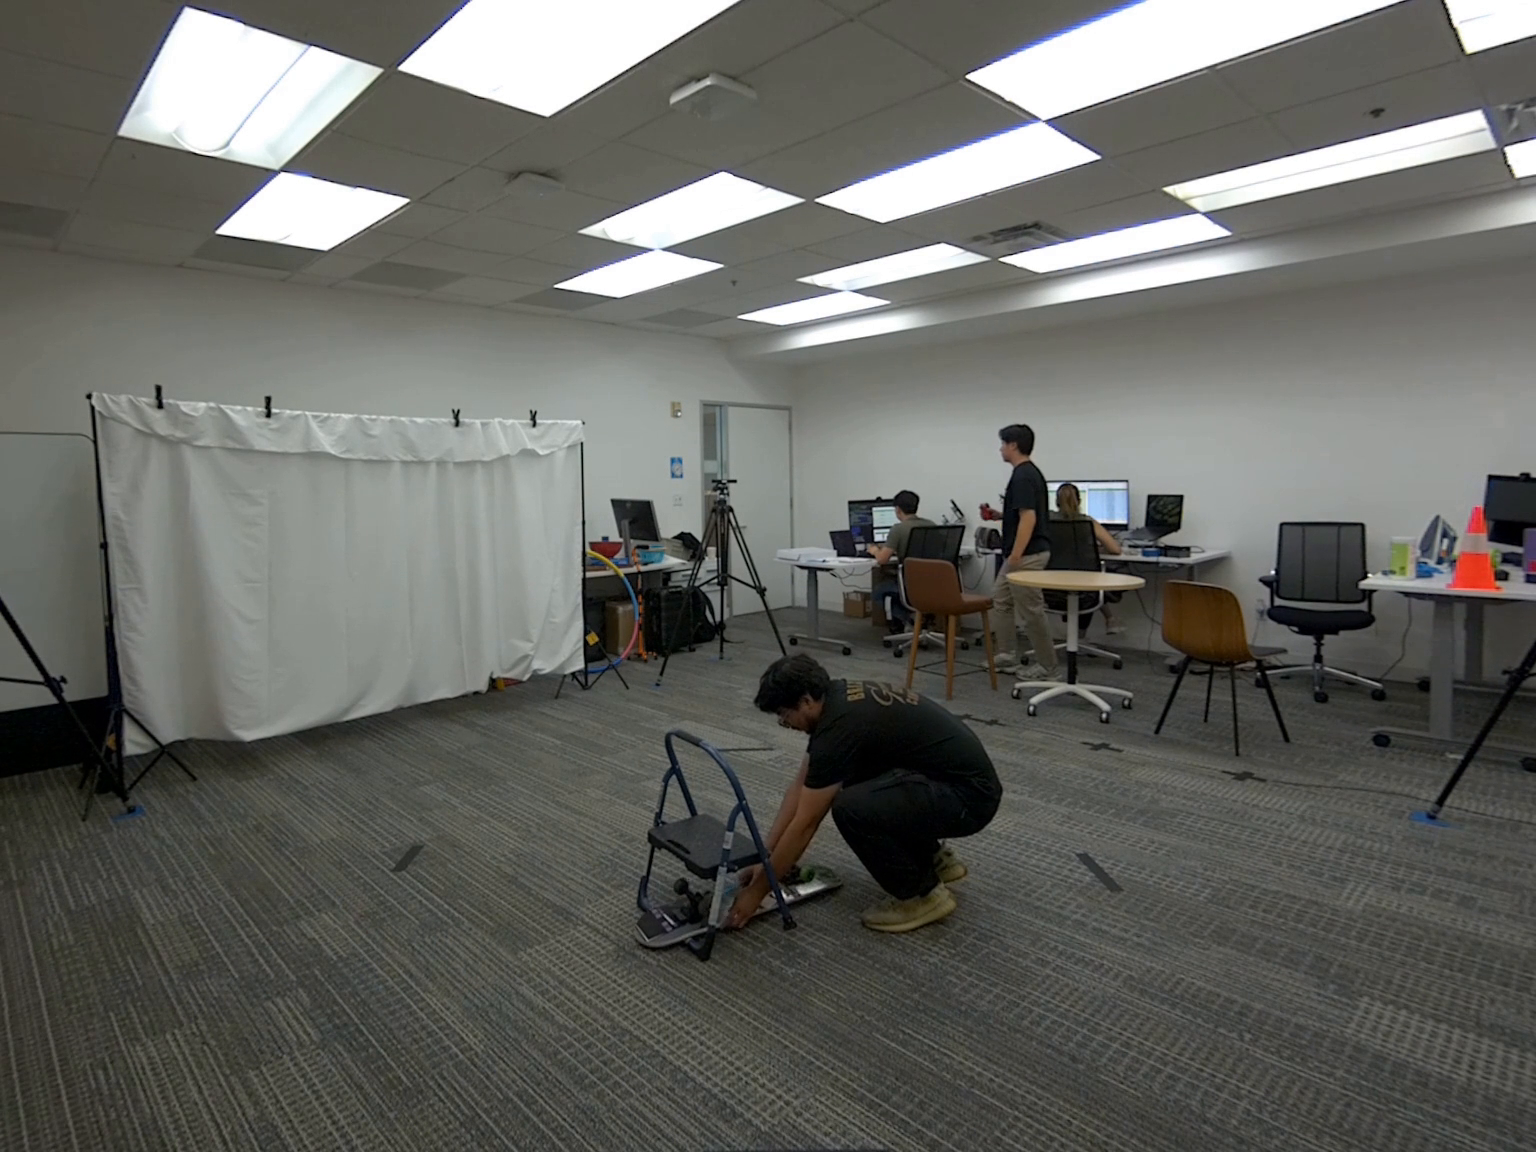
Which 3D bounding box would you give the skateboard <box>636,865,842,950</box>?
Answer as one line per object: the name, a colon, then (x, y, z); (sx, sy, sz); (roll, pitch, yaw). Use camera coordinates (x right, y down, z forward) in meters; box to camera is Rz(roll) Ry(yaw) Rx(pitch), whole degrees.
skateboard: (-0.067, 1.028, 2.789); (0.765, 0.110, 0.199); (-4, 7, -35)
